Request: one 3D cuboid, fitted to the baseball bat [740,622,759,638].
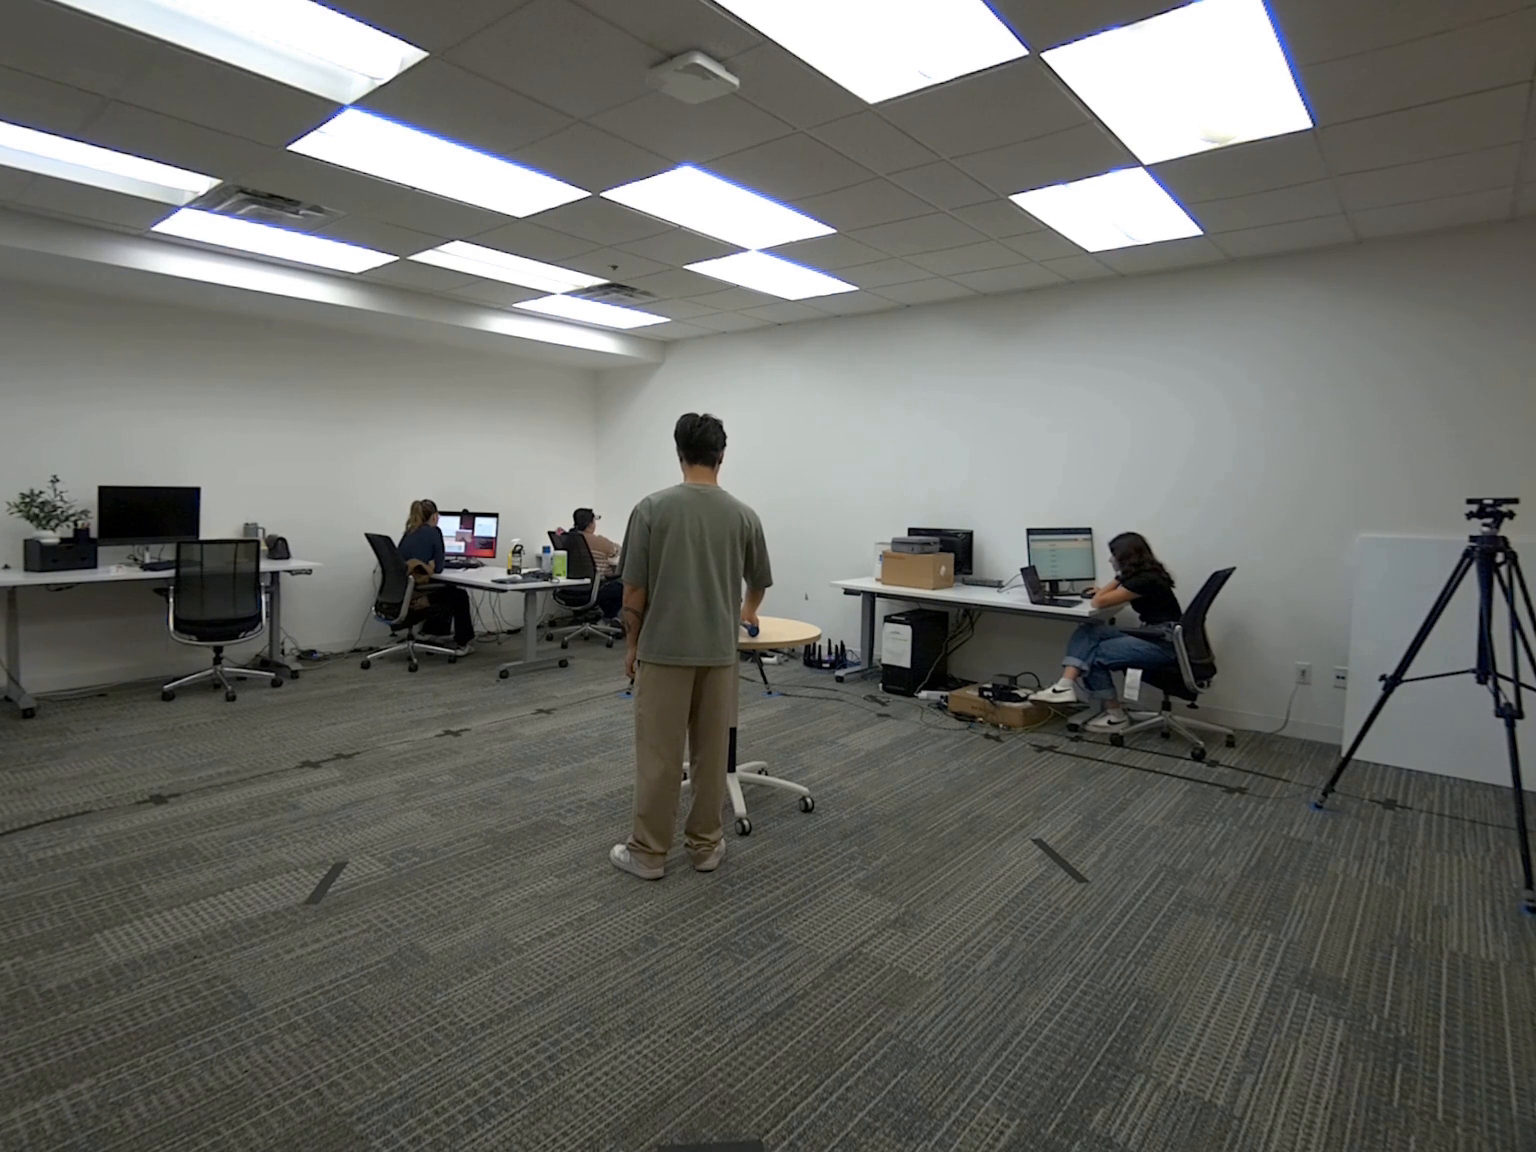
[{"bbox_3d":[-0.148,0.184,3.740,0.087,0.088,0.556,0,10,-18],"label":"baseball bat"}]
